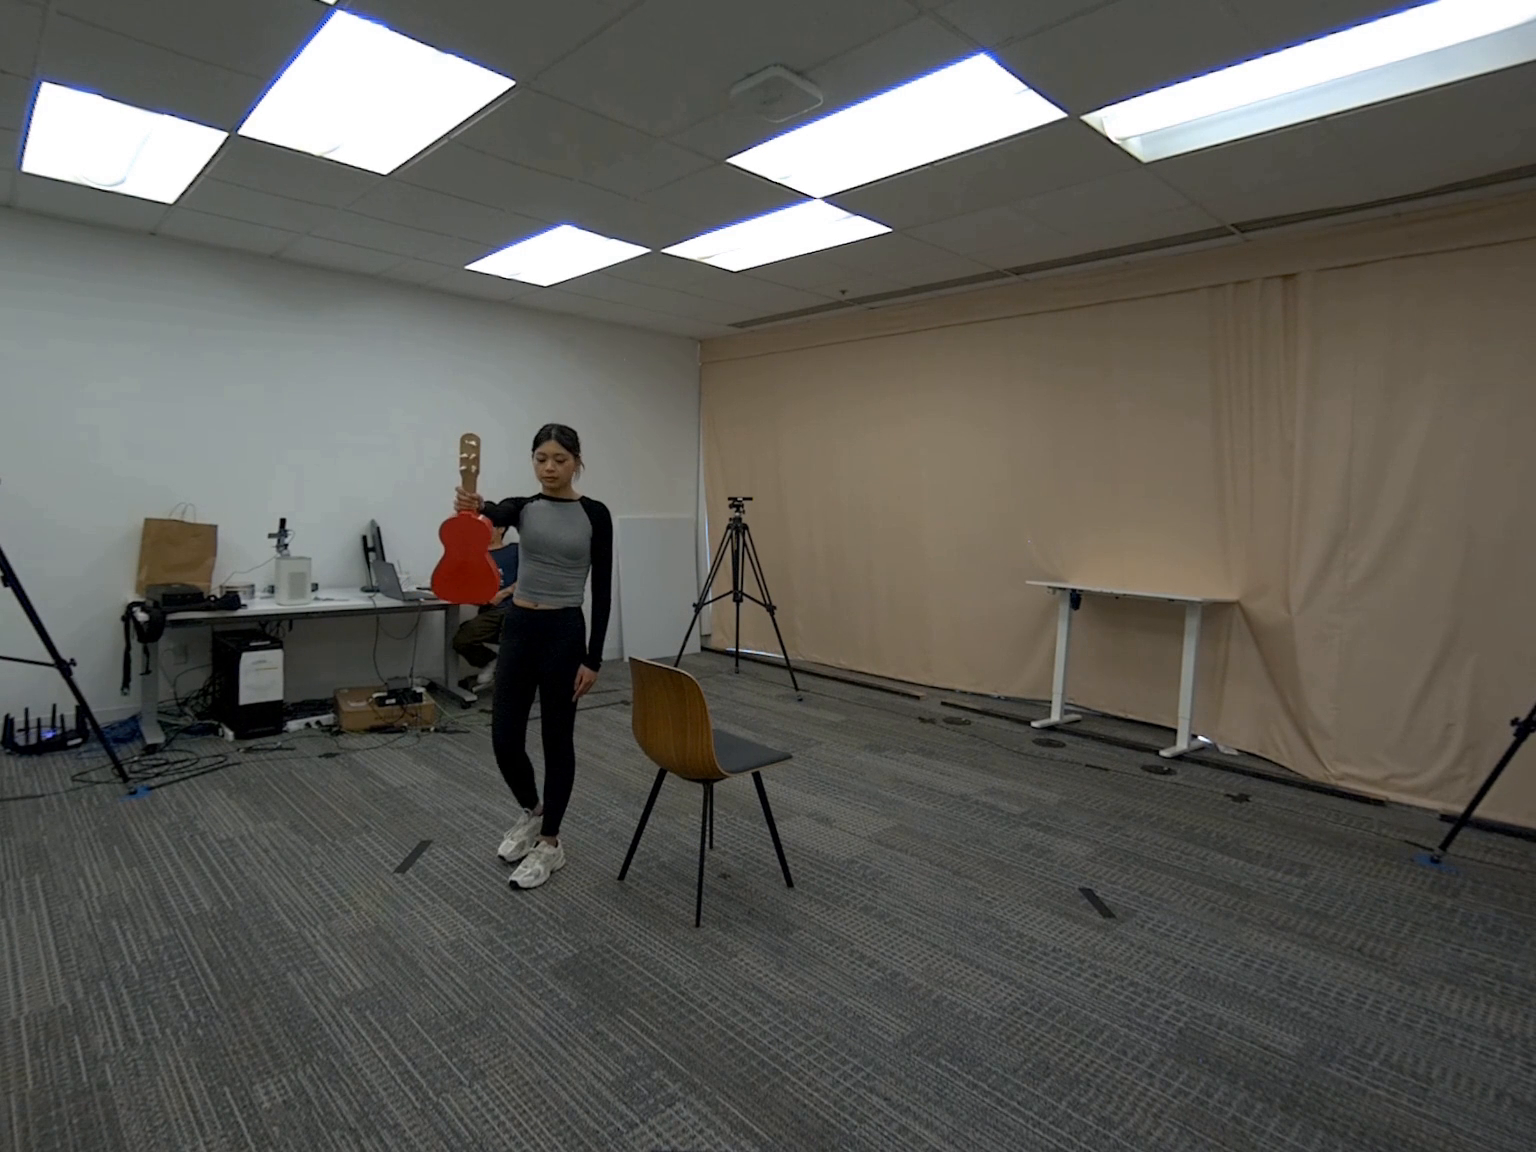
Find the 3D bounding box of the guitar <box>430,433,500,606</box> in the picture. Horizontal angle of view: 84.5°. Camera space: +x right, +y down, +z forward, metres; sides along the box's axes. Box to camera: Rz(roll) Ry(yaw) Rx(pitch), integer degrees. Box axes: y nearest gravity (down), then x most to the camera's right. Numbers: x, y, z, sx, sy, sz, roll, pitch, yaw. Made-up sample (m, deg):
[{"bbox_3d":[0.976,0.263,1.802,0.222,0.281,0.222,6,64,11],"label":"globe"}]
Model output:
[{"bbox_3d":[-0.920,-0.160,2.446,0.192,0.492,0.072,-2,16,-8],"label":"guitar"}]
